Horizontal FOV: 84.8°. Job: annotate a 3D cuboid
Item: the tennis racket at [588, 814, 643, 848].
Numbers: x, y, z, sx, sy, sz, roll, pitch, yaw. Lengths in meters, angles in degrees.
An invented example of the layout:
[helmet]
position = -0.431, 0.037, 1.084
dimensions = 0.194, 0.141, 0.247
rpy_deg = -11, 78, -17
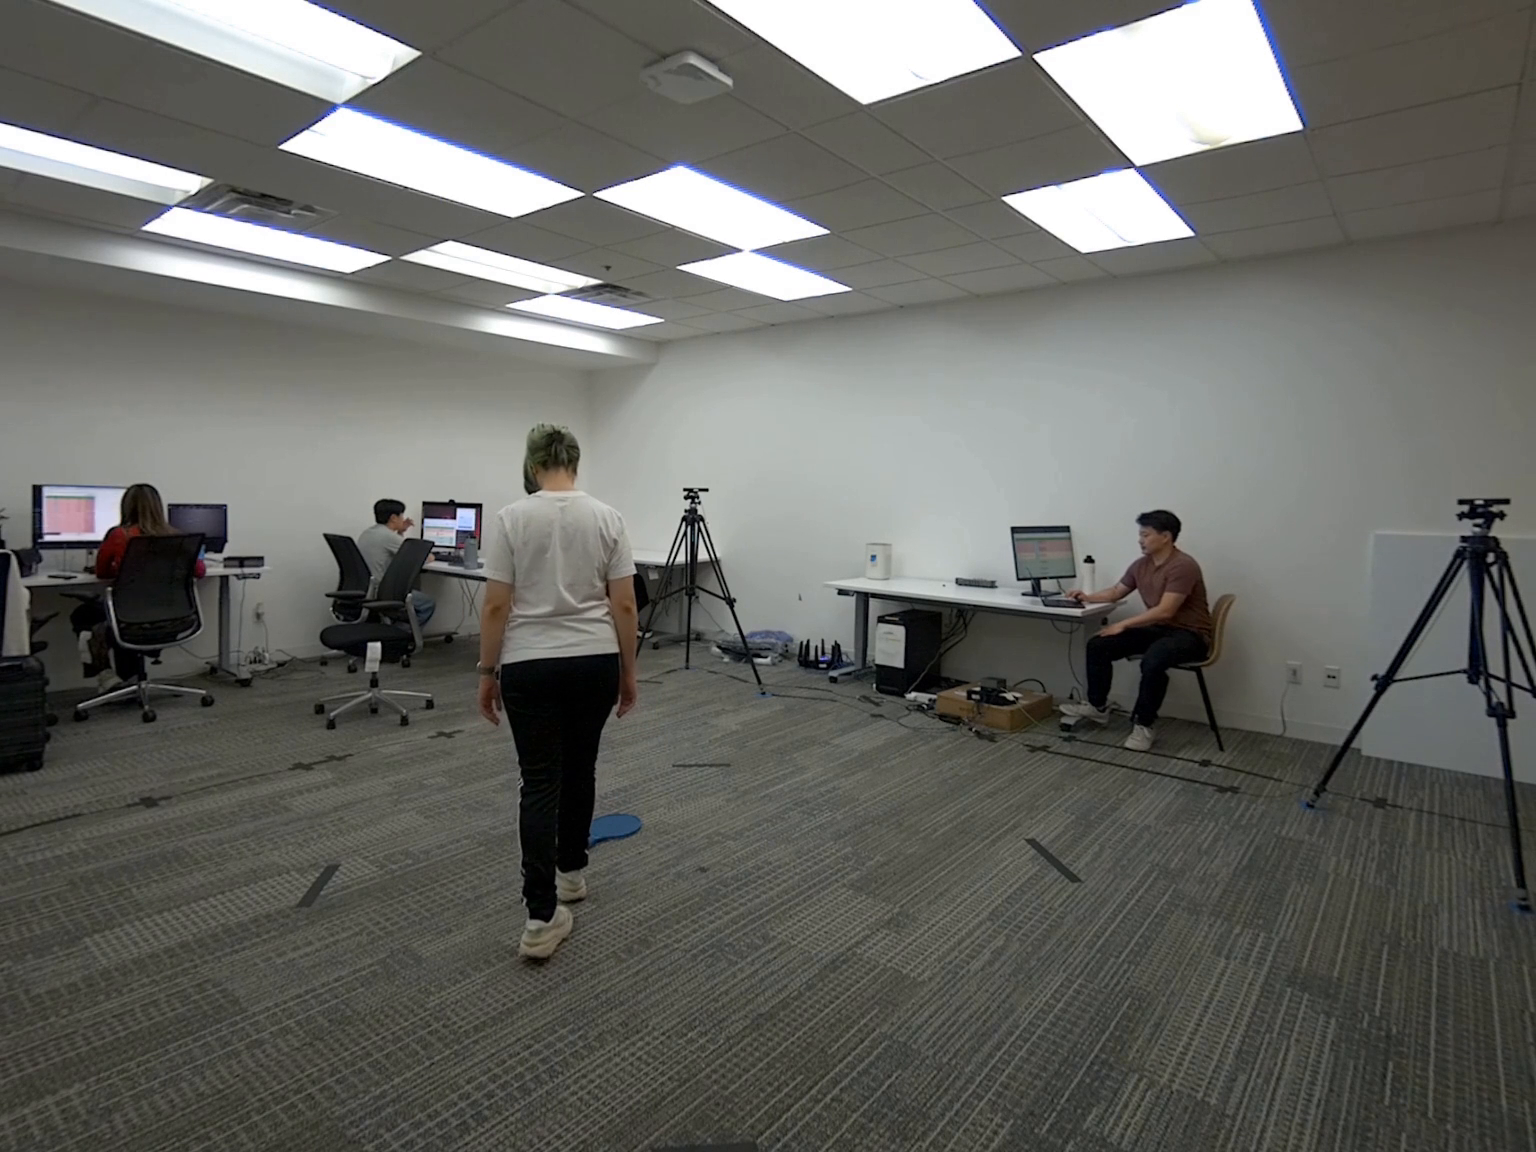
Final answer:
[tennis racket]
position = -0.667, 1.023, 3.400
dimensions = 0.218, 0.032, 0.424
rpy_deg = 2, 4, 21
